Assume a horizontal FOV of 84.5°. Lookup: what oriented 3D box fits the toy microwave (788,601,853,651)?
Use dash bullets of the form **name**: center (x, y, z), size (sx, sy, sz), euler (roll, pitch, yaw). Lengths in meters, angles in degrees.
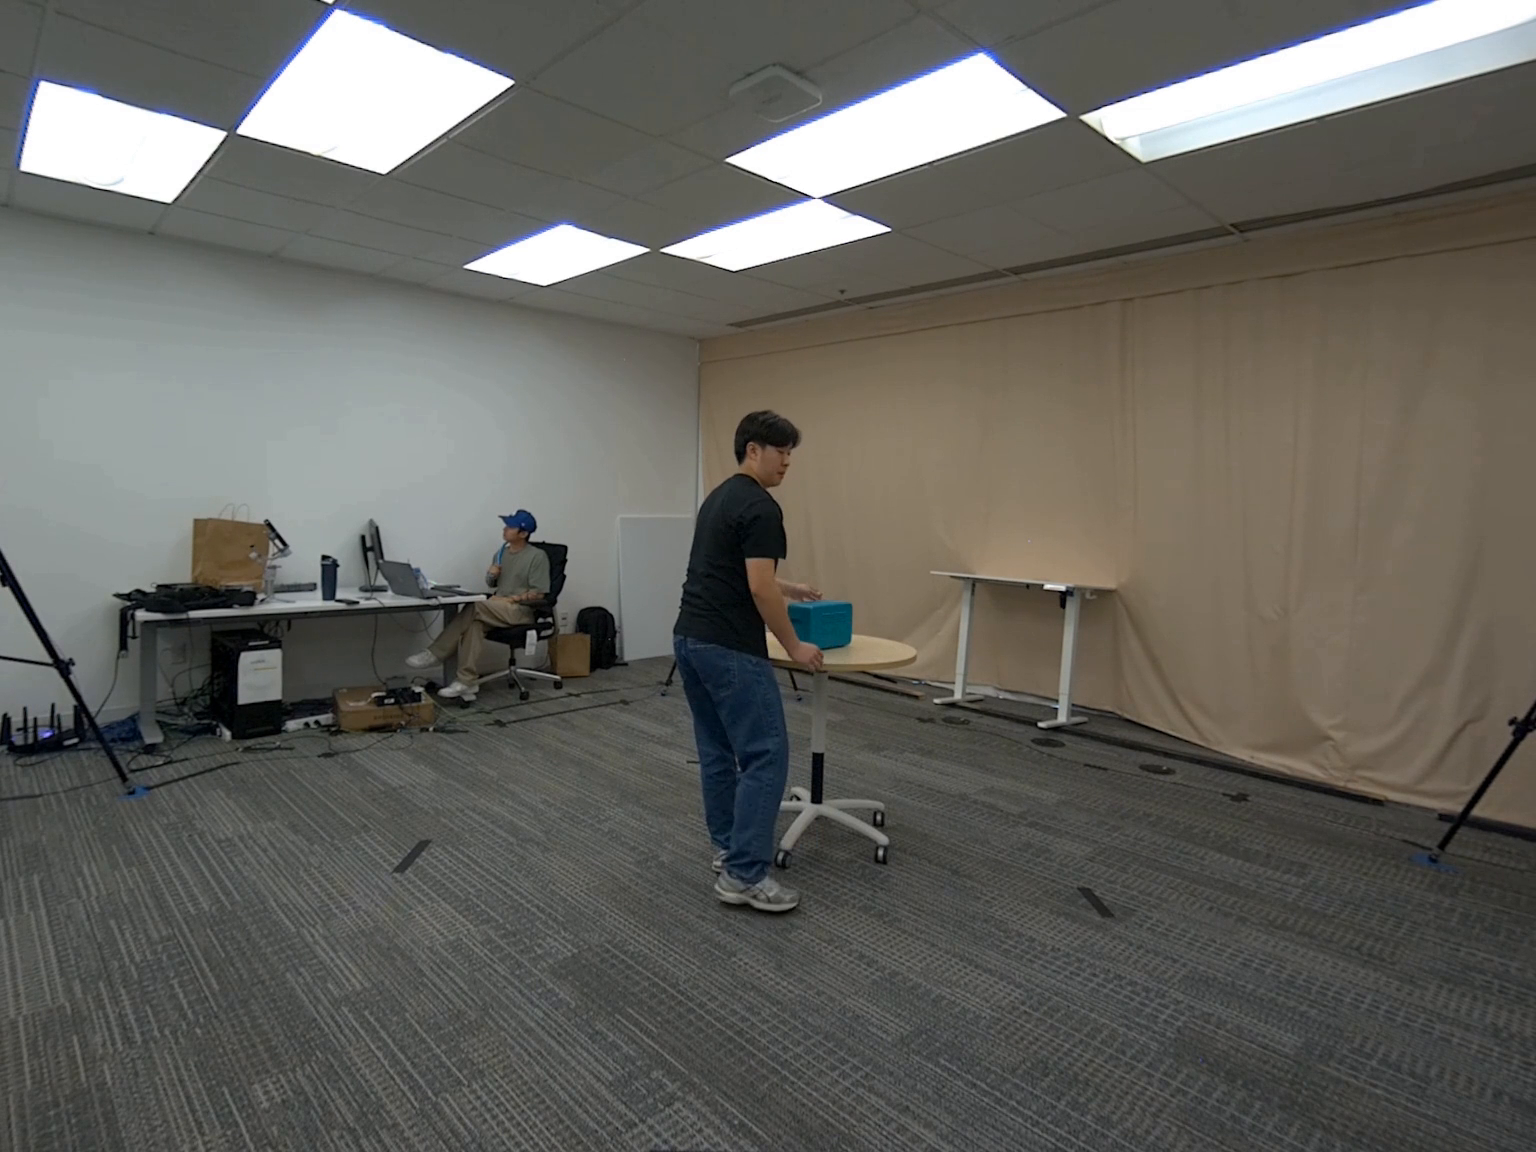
- **toy microwave**: center (0.203, 0.200, 3.435), size (0.156, 0.184, 0.279), euler (5, 5, 44)
